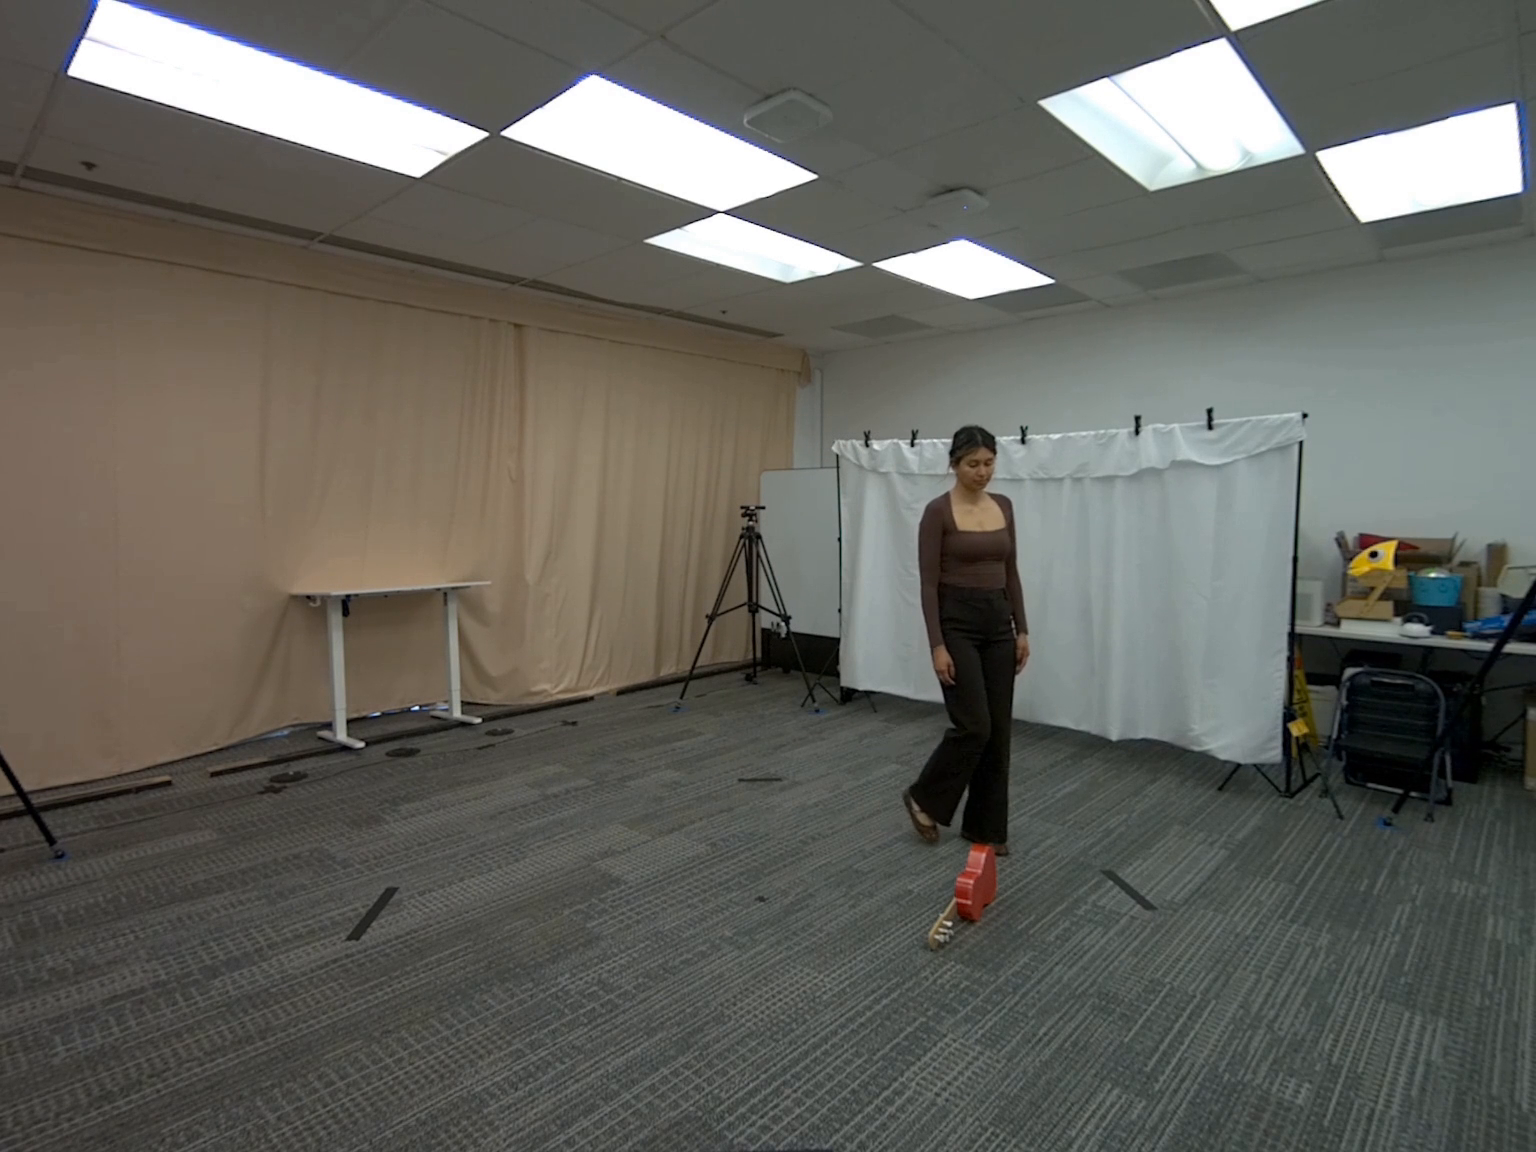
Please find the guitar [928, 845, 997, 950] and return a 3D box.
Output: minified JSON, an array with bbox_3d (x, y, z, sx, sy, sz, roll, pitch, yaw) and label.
[{"bbox_3d":[0.666,1.116,2.815,0.073,0.190,0.490,0,22,34],"label":"guitar"}]
